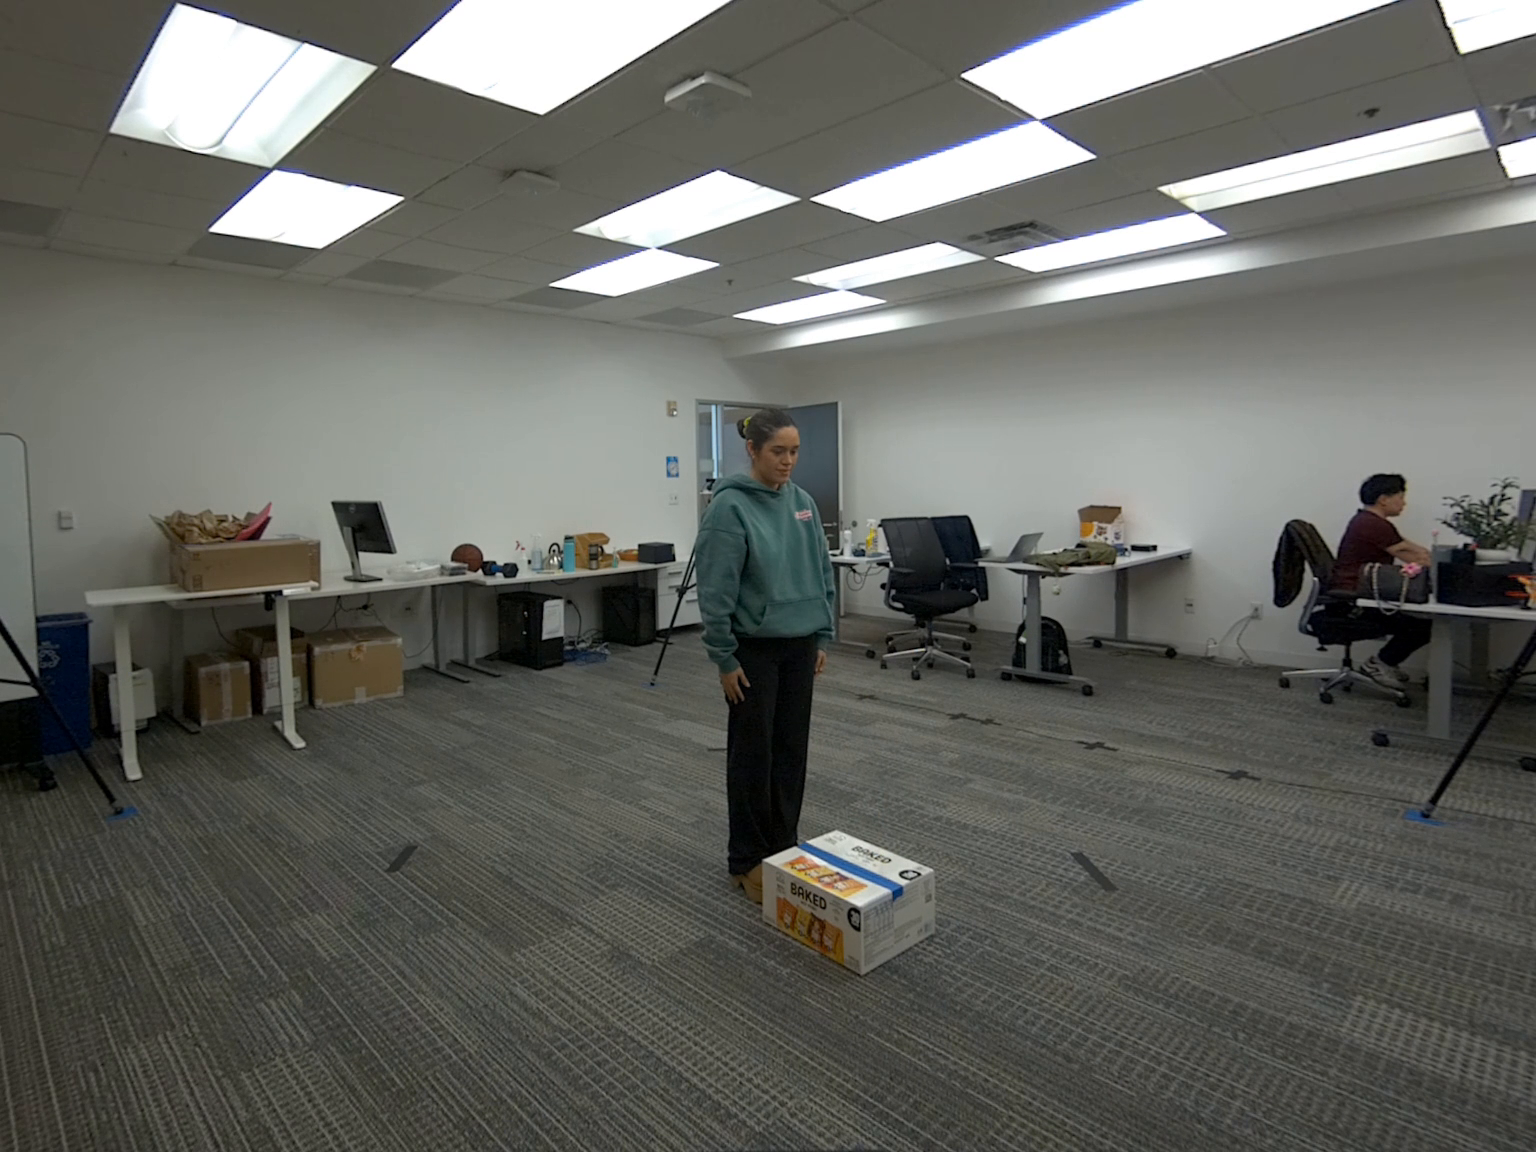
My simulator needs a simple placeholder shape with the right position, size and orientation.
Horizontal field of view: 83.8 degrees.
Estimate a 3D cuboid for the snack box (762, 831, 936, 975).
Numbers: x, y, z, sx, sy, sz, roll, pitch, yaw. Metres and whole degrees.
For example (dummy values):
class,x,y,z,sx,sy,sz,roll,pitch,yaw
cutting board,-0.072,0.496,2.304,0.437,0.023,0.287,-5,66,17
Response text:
class,x,y,z,sx,sy,sz,roll,pitch,yaw
snack box,0.252,0.994,2.634,0.331,0.205,0.418,-7,8,-41
